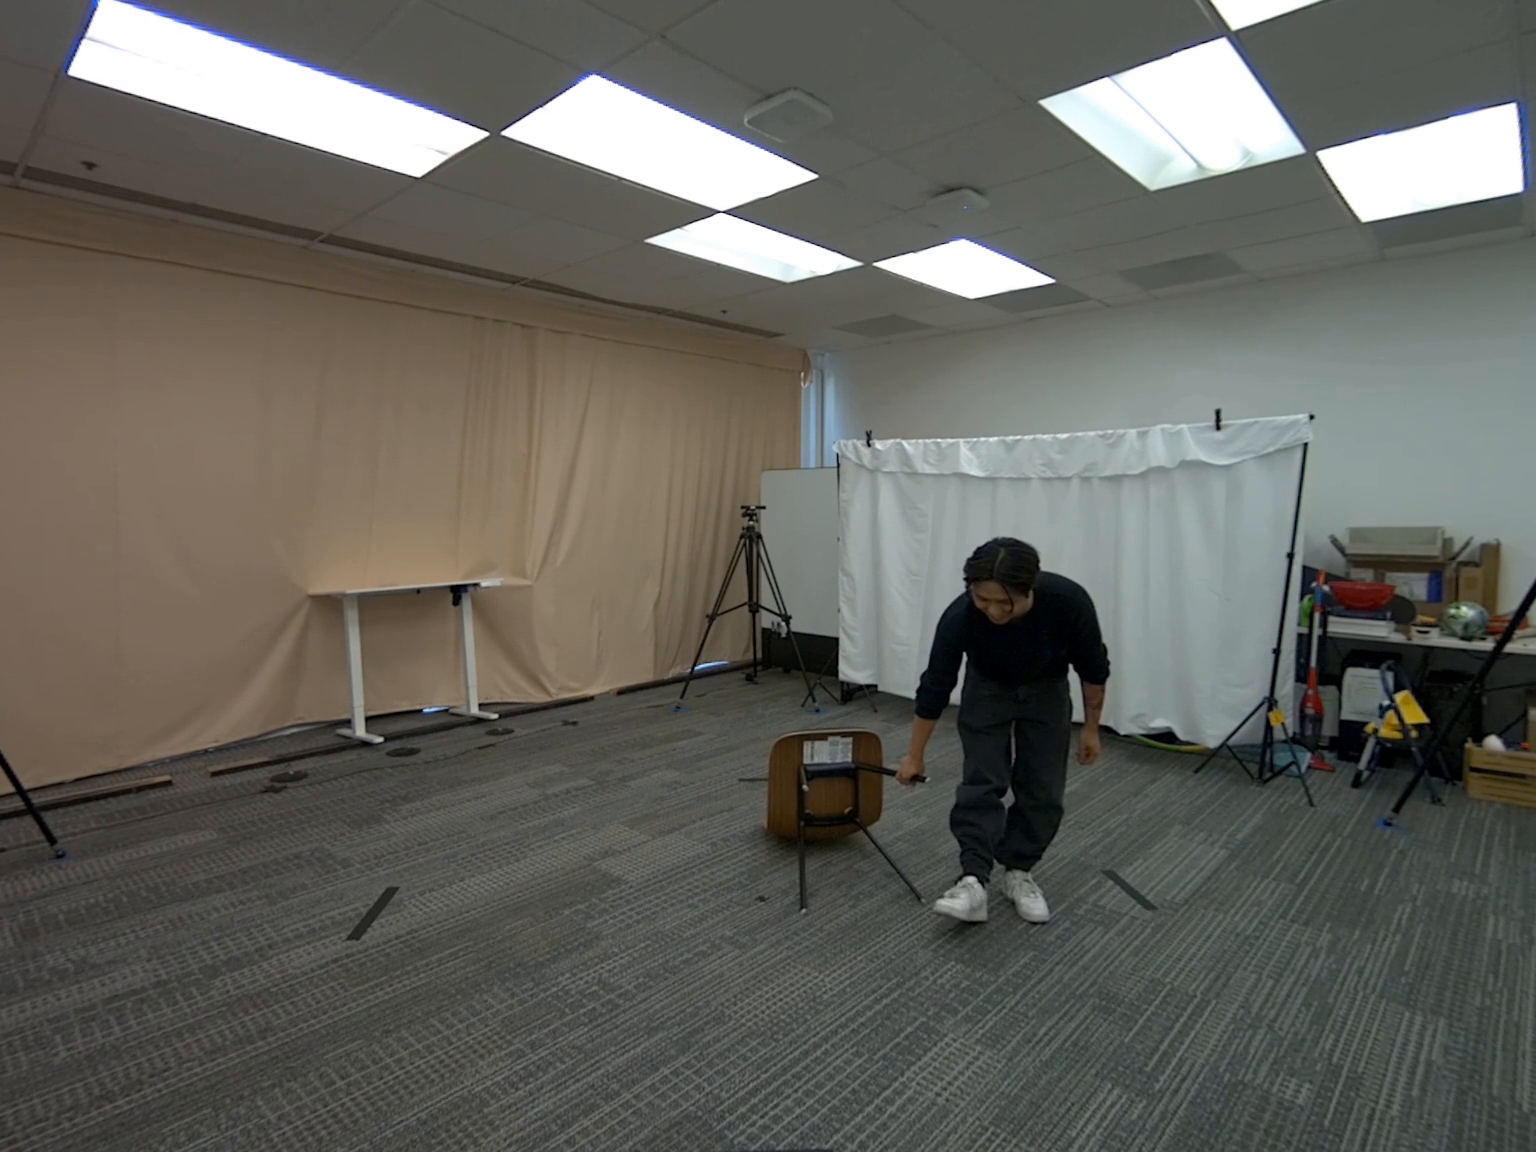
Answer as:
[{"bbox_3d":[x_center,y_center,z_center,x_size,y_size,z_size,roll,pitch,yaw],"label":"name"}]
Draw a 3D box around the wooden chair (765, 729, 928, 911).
[{"bbox_3d":[0.249,0.857,3.293,0.473,0.522,0.888,-1,3,-12],"label":"wooden chair"}]
